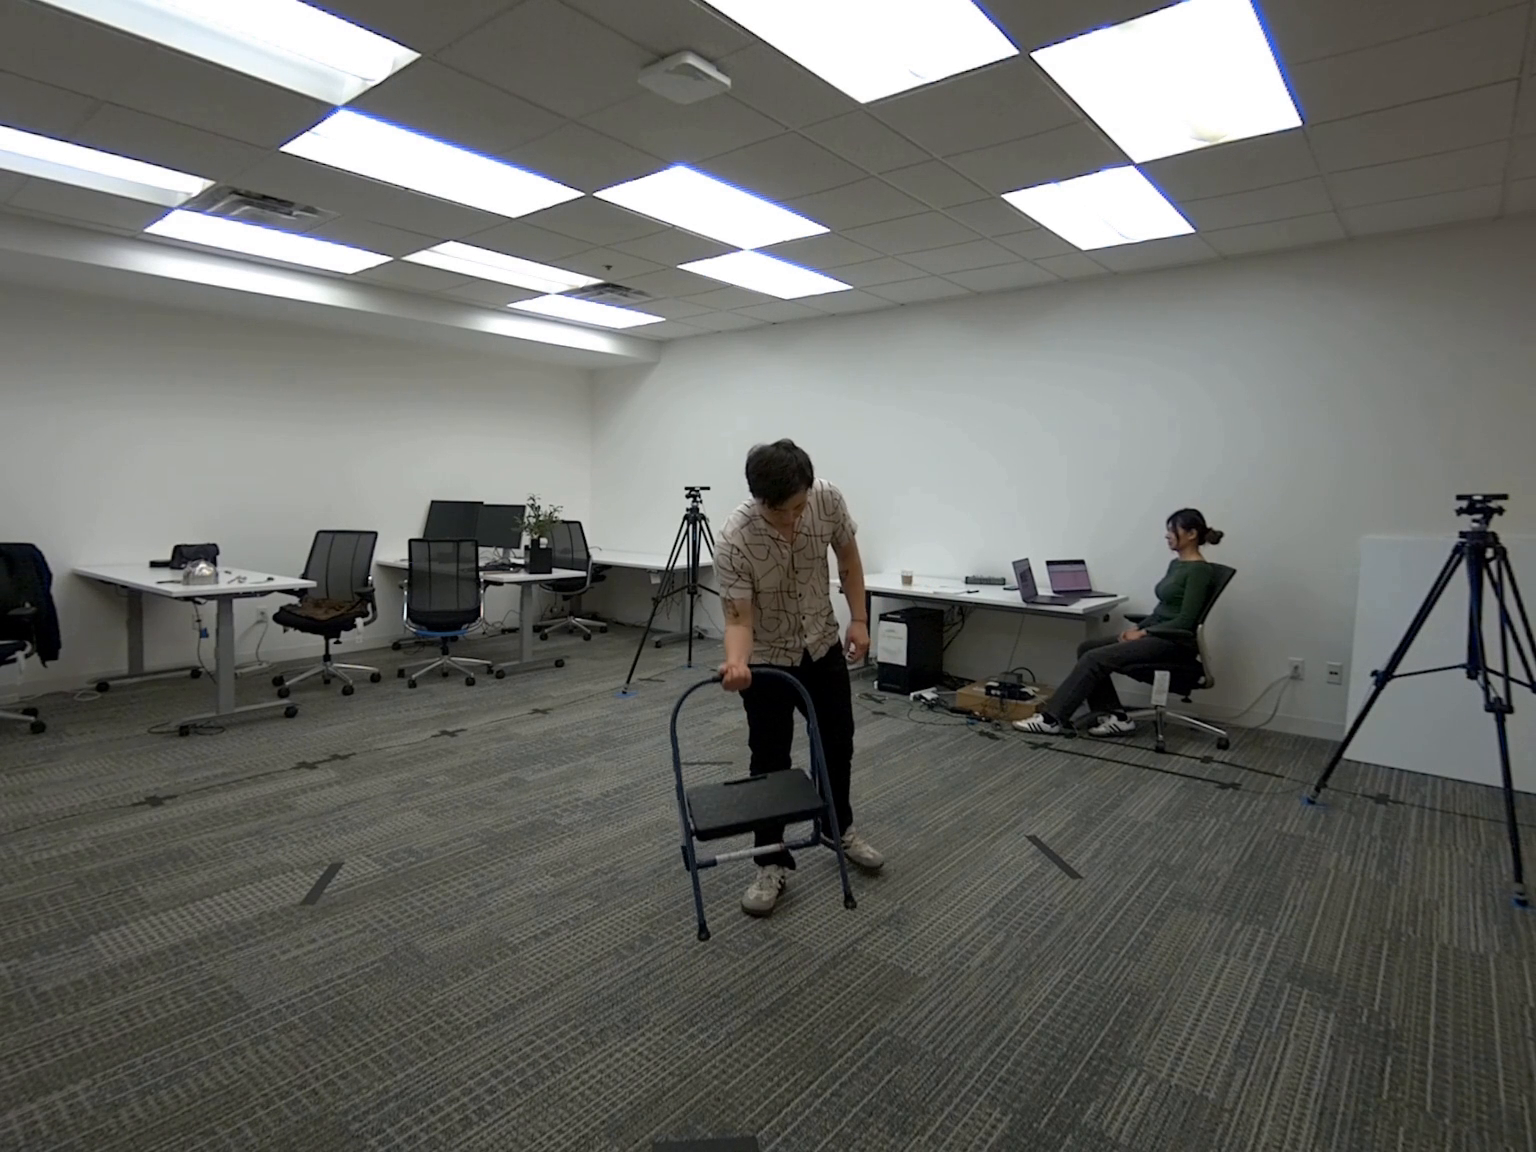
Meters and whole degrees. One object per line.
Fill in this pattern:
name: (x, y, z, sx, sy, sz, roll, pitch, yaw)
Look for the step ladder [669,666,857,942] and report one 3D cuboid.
step ladder: (-0.055, 0.587, 2.323, 0.427, 0.600, 0.356, -7, 10, -10)
